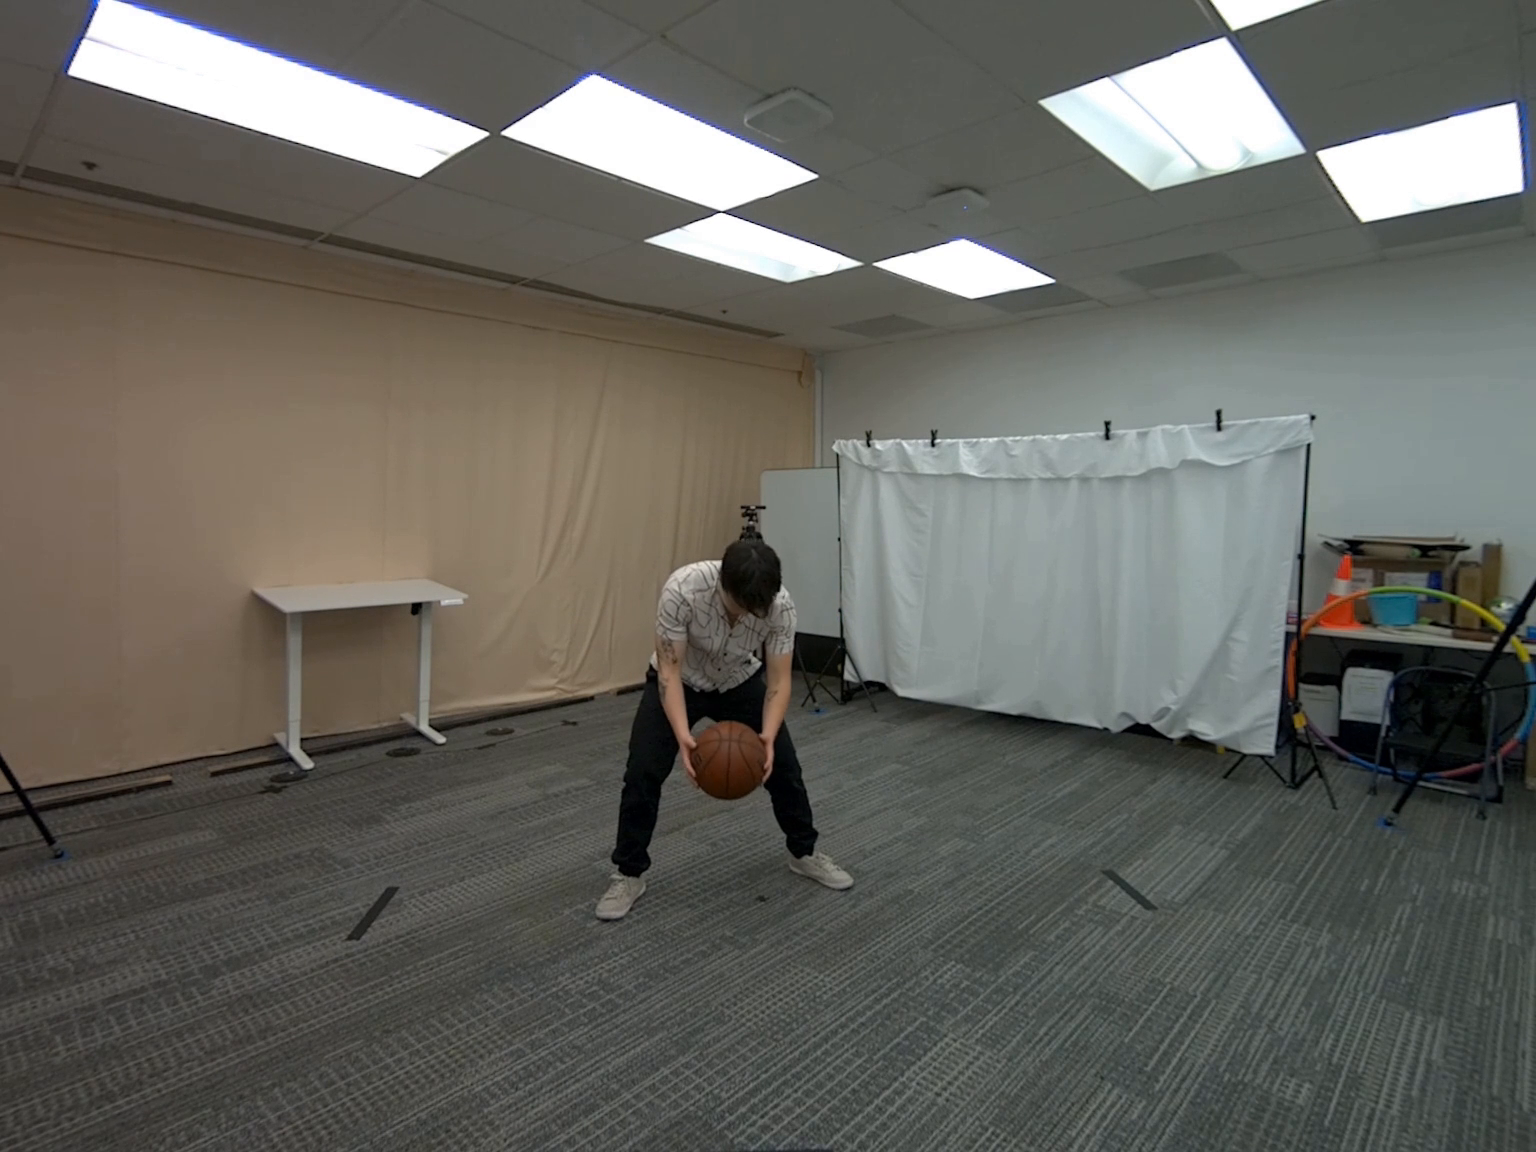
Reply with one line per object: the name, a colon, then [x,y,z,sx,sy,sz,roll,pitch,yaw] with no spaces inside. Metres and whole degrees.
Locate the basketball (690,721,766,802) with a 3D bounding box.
basketball: [-0.124,0.571,2.617,0.236,0.235,0.237,0,4,-2]
